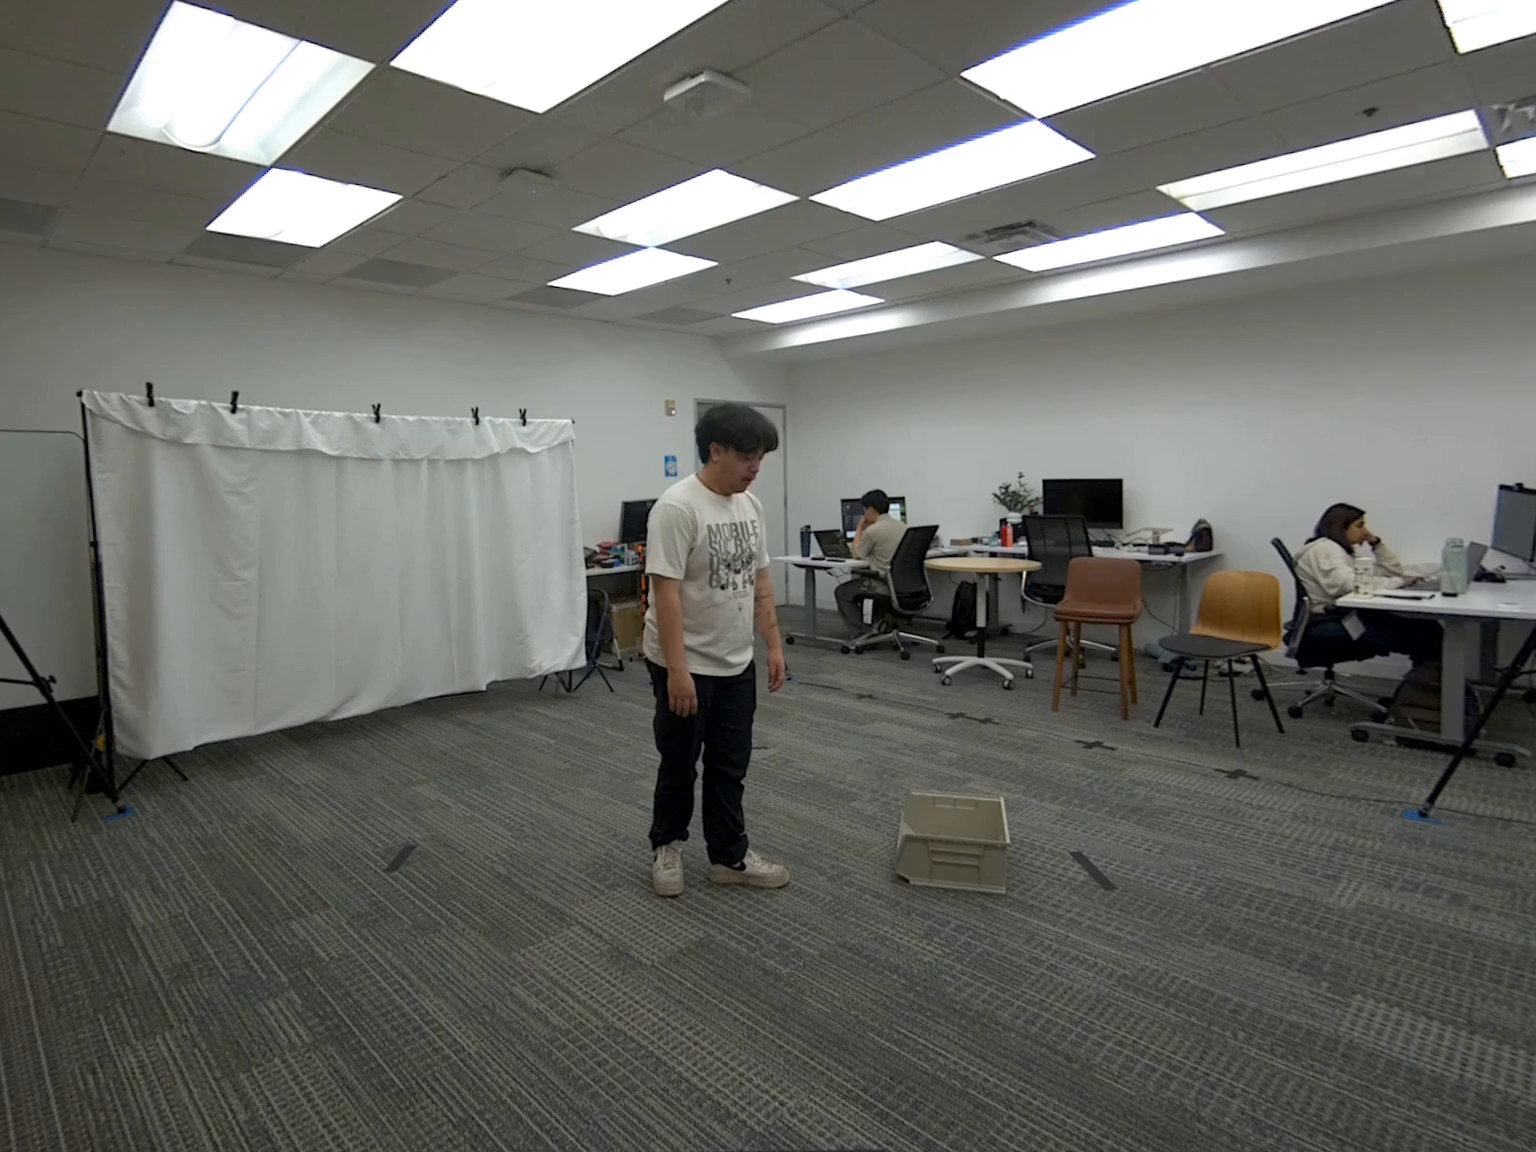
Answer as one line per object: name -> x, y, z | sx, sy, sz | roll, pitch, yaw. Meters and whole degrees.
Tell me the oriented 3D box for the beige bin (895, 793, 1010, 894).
beige bin -> 0.661, 0.943, 3.080 | 0.383, 0.188, 0.418 | 1, 5, 13
